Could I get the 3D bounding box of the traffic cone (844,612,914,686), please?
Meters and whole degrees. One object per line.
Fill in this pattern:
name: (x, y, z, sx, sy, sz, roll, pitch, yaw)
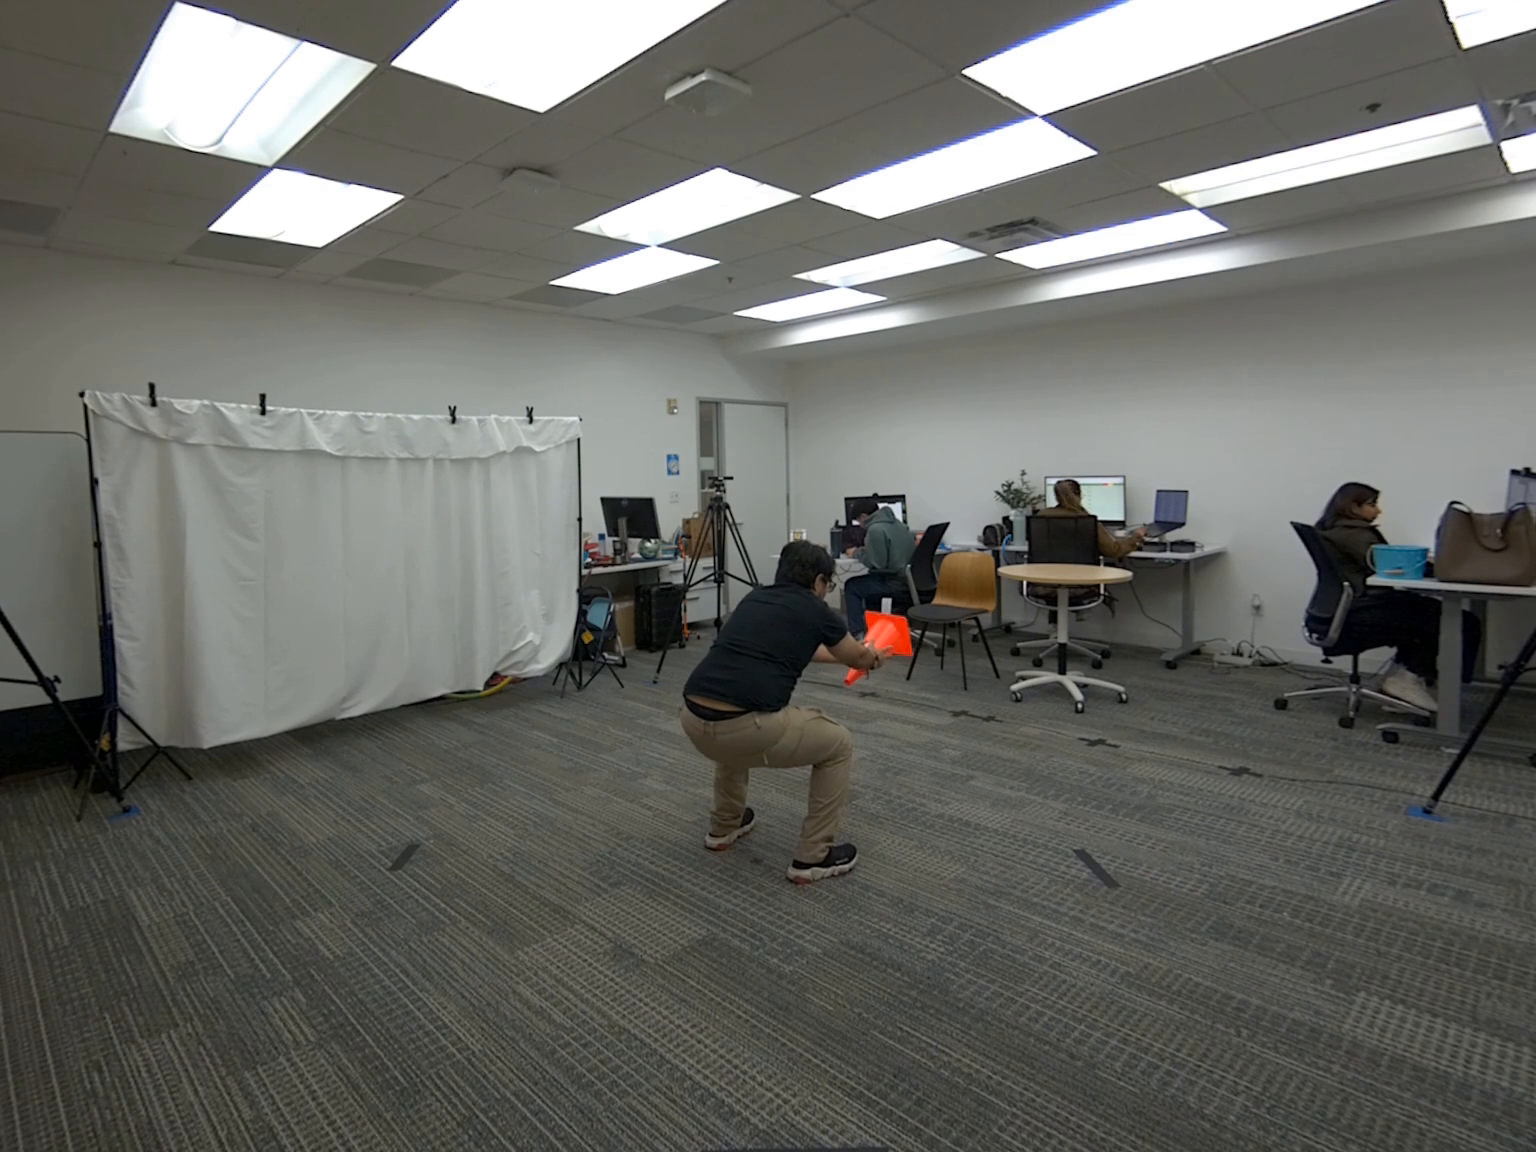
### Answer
traffic cone: (0.417, 0.331, 3.563, 0.211, 0.198, 0.381, 7, 31, 37)
